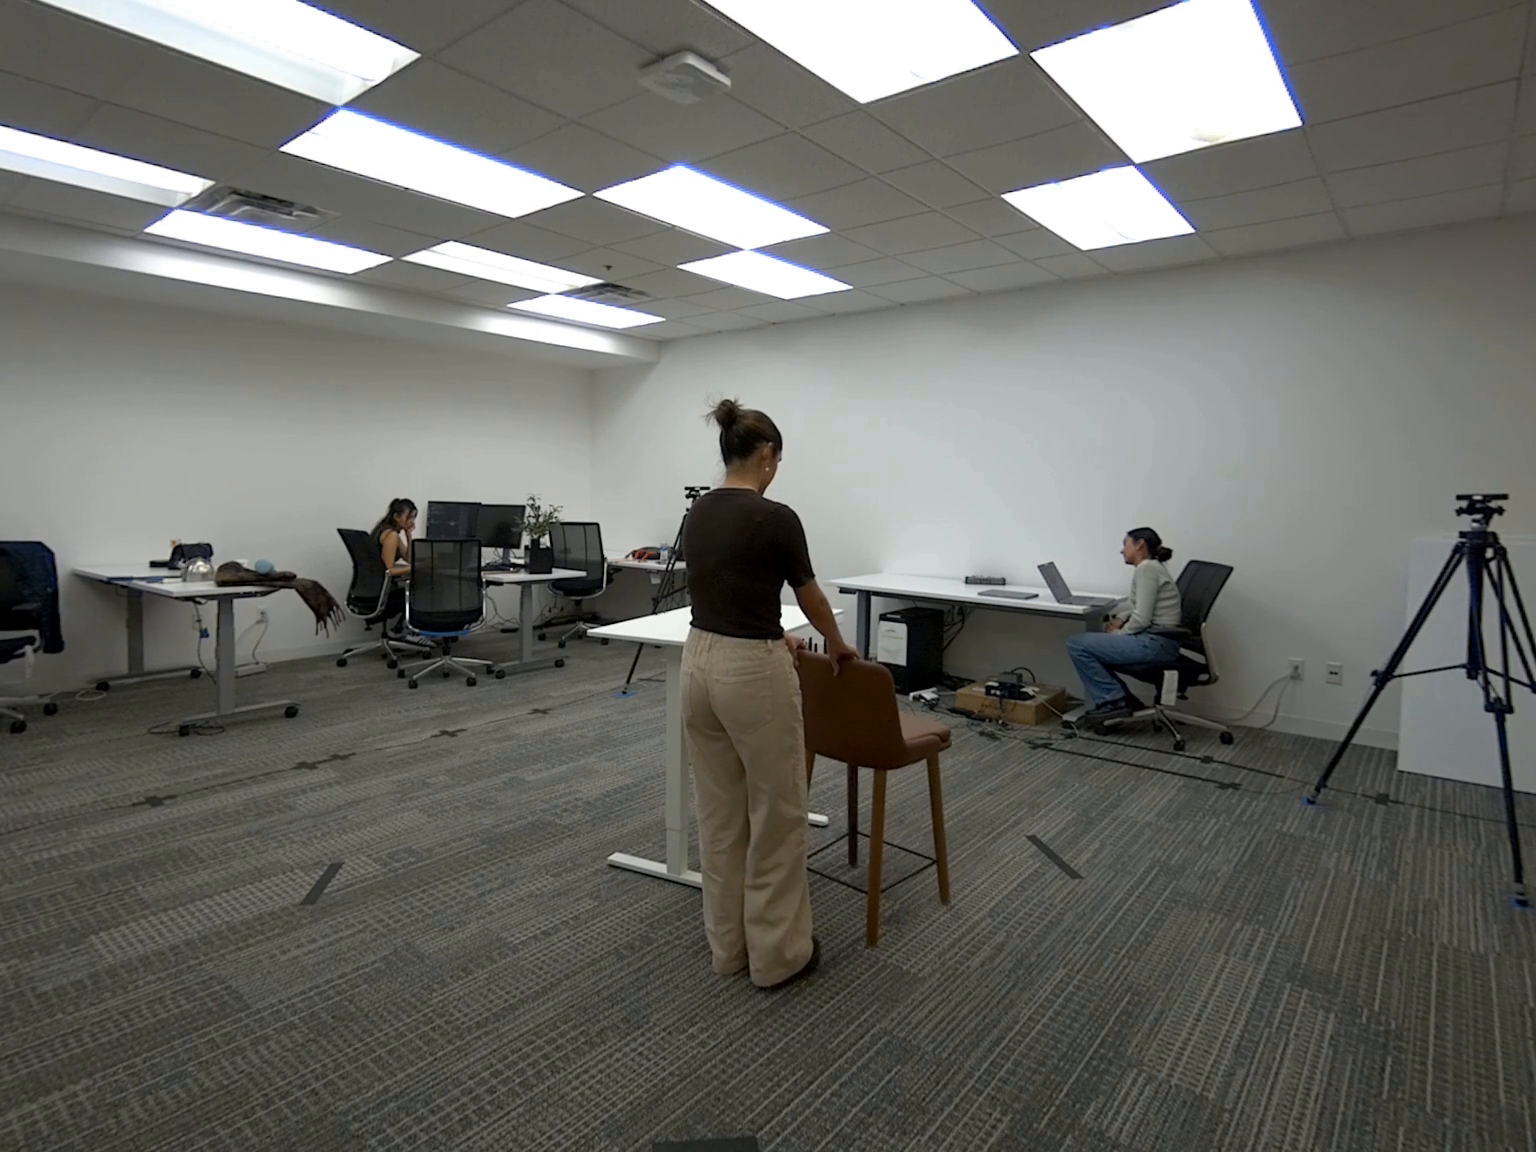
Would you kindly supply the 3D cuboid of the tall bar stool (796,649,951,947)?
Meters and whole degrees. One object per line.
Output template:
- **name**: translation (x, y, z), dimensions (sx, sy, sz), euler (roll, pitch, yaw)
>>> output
- **tall bar stool**: translation (0.321, 0.664, 2.838), dimensions (0.472, 0.886, 0.454), euler (4, 6, 42)
